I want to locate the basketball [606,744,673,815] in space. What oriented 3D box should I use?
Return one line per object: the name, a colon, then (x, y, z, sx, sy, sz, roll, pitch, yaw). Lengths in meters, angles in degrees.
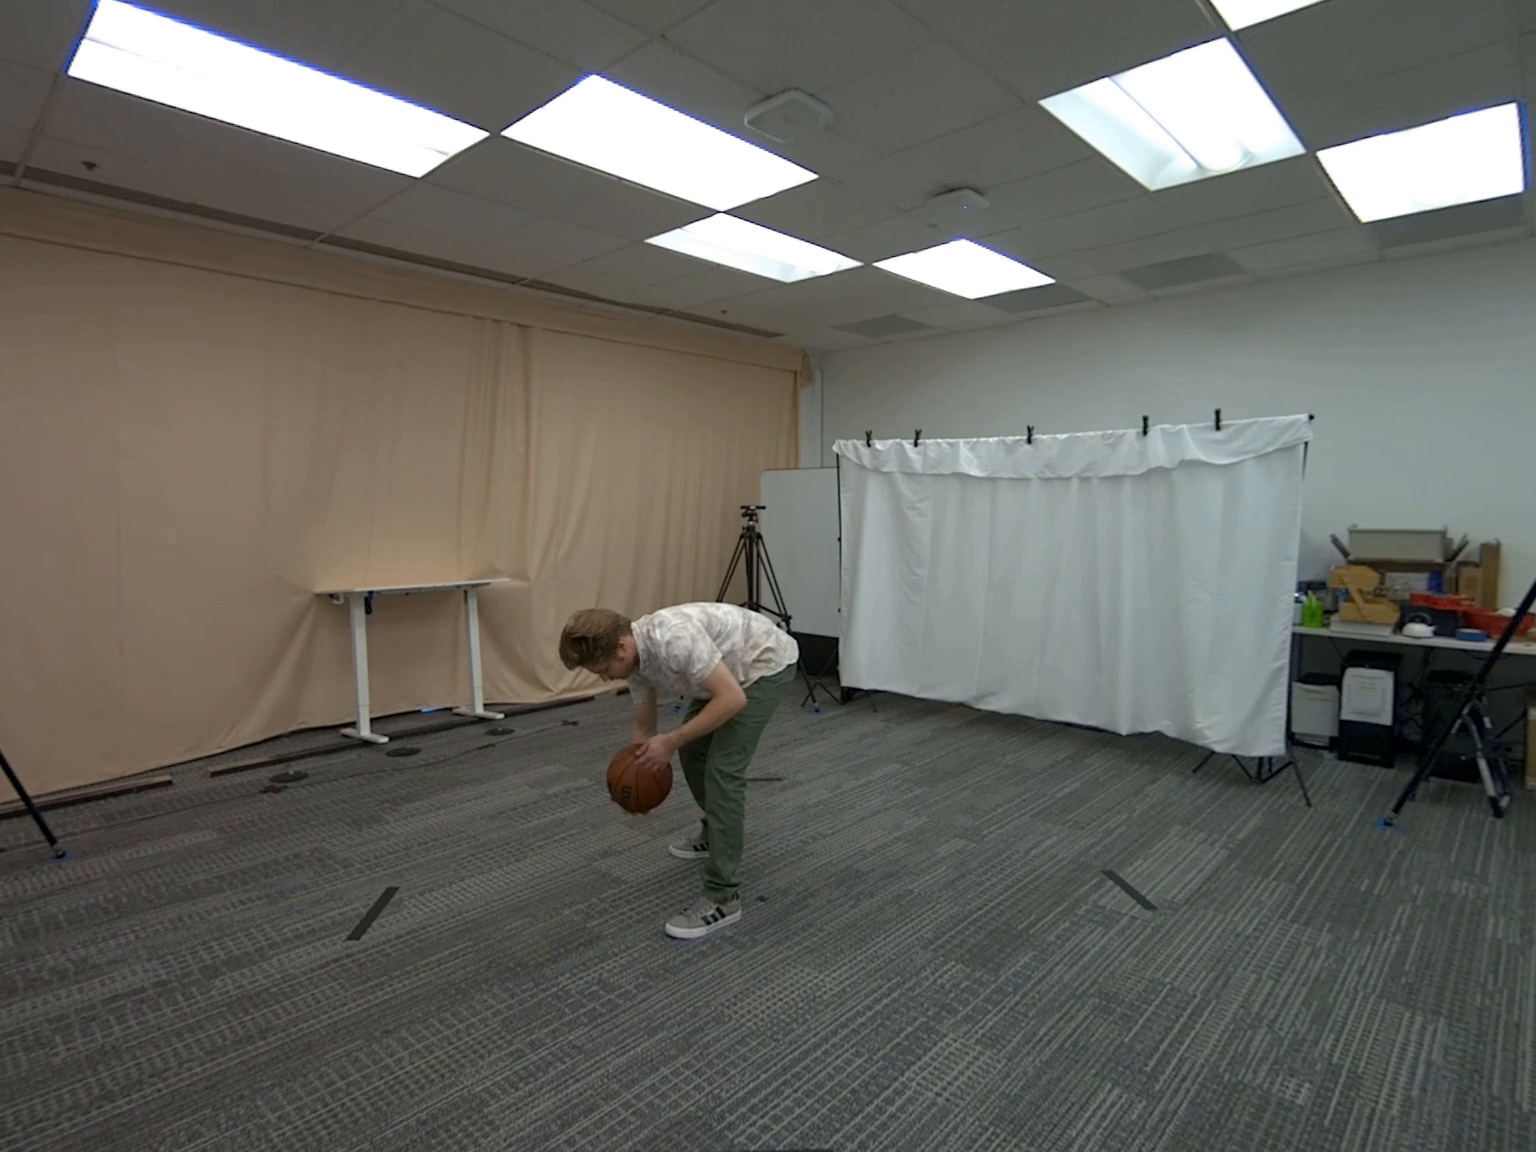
basketball: (-0.470, 0.725, 3.027, 0.236, 0.235, 0.237, 0, 4, -2)
